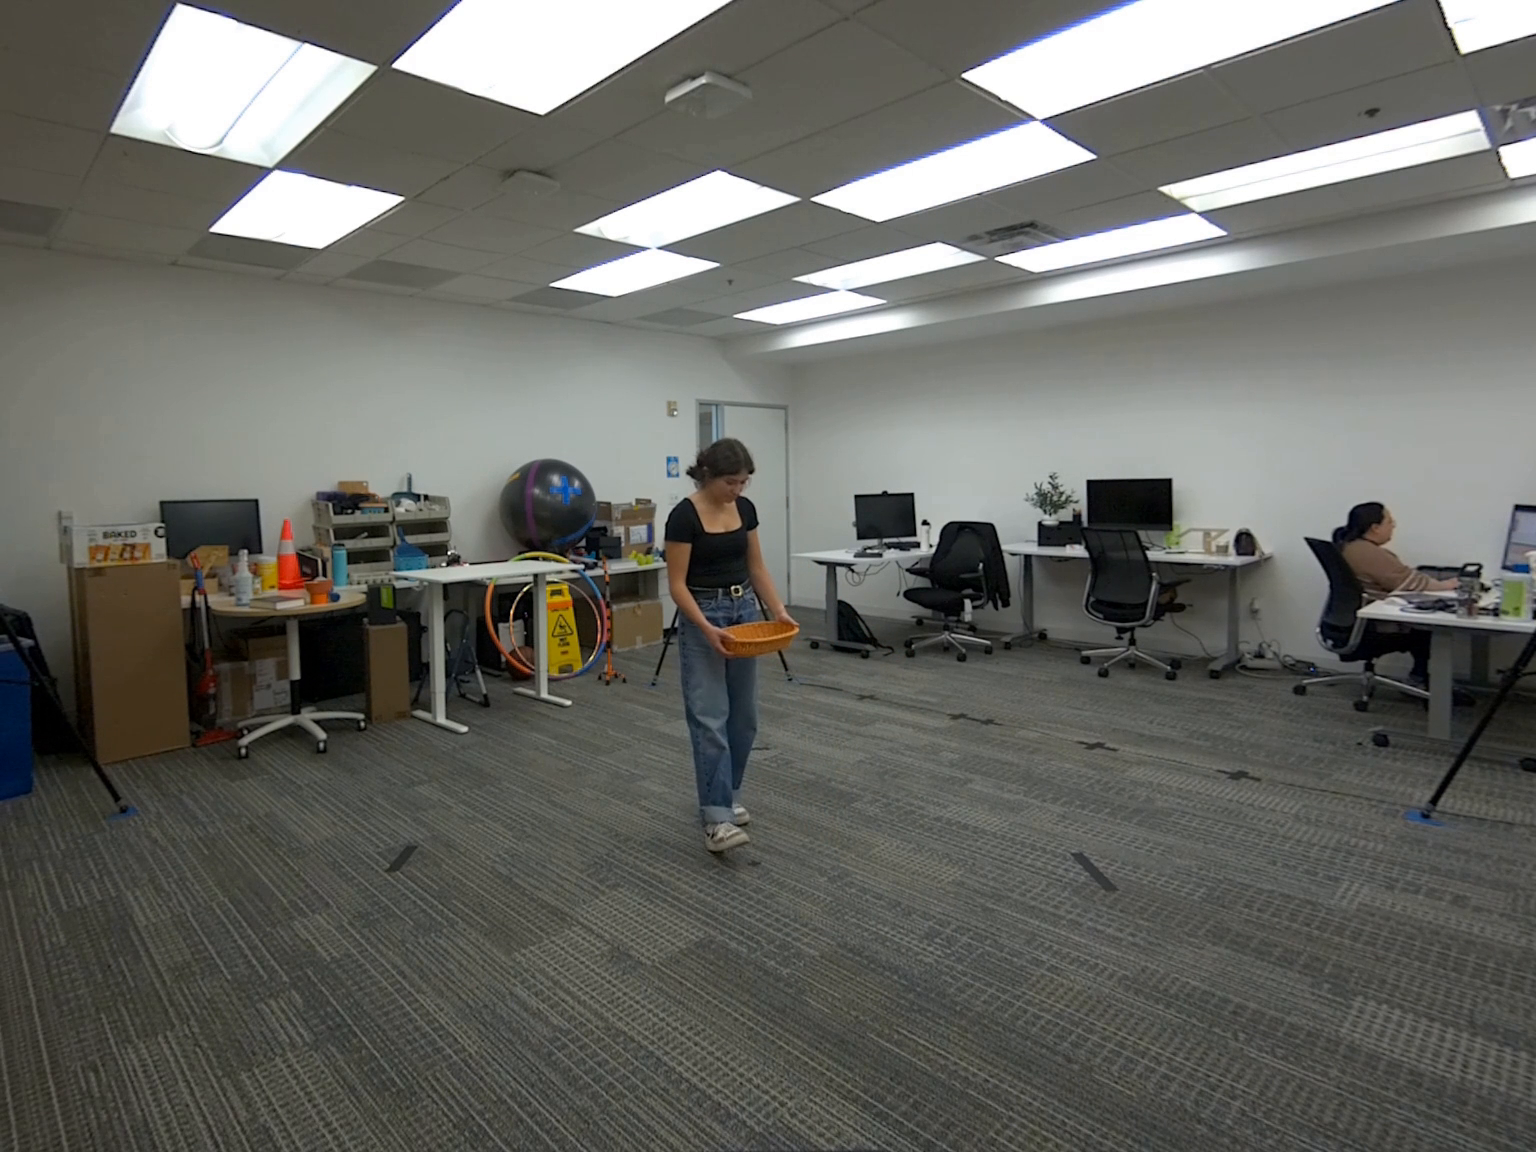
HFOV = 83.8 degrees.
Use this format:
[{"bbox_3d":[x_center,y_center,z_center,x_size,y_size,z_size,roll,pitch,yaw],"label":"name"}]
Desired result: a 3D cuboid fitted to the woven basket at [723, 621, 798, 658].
[{"bbox_3d":[-0.058,0.242,3.253,0.342,0.073,0.261,-9,13,-38],"label":"woven basket"}]
